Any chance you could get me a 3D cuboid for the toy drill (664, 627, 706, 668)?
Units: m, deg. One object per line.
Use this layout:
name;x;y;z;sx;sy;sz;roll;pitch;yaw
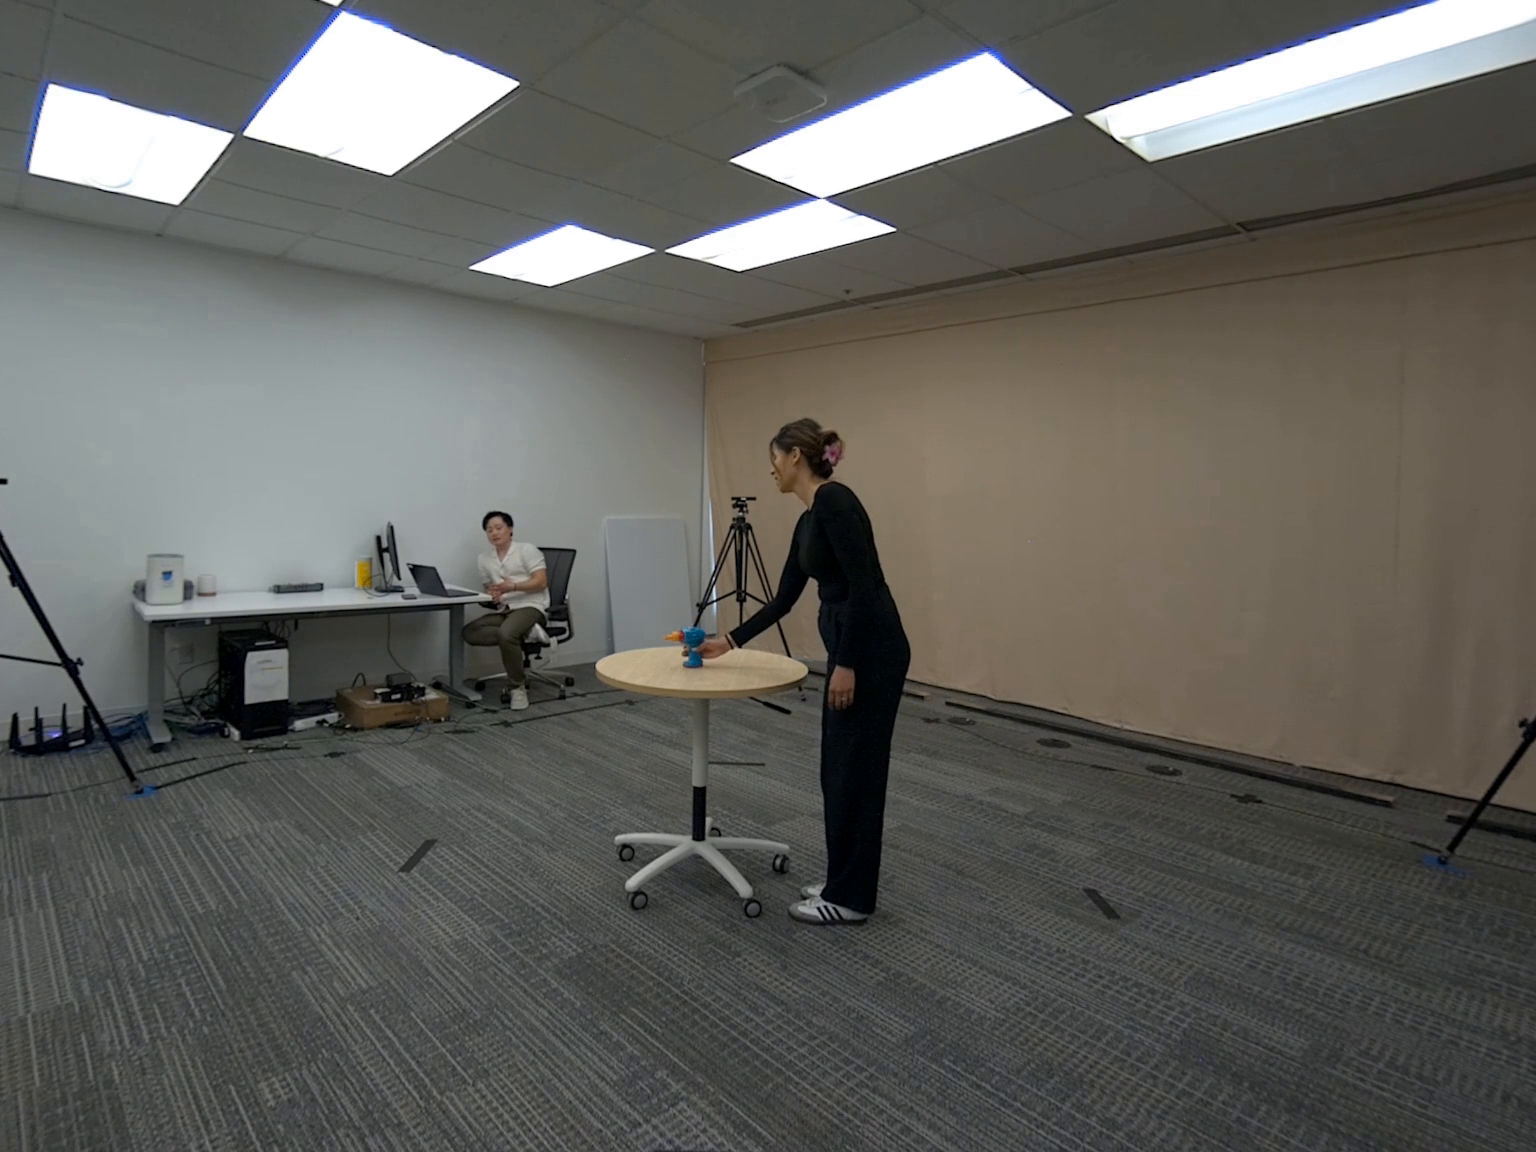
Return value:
toy drill;-0.302;0.252;3.007;0.166;0.145;0.063;-2;6;-33
